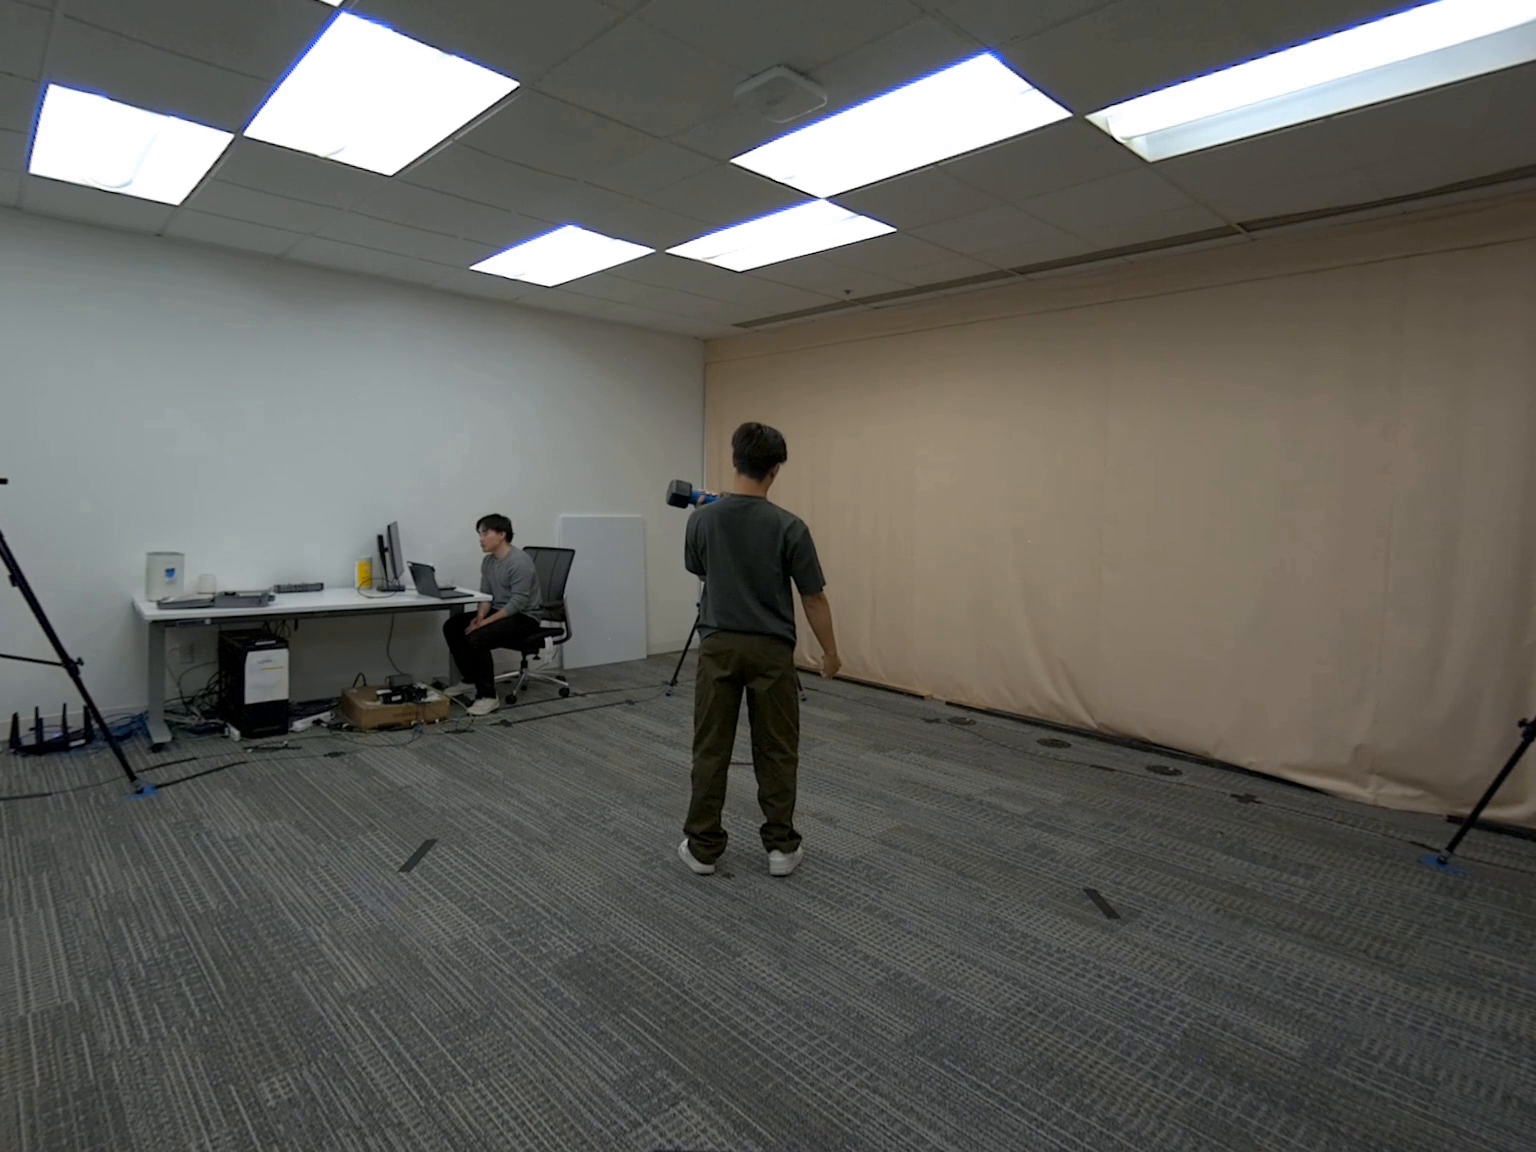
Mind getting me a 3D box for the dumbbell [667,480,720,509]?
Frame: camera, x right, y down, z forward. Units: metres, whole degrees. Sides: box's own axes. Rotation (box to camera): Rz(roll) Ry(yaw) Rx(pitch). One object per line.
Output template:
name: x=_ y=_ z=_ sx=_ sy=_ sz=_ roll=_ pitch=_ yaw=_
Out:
dumbbell: x=-0.268 y=-0.307 z=3.387 sx=0.289 sy=0.108 sz=0.125 roll=13 pitch=3 yaw=-18
